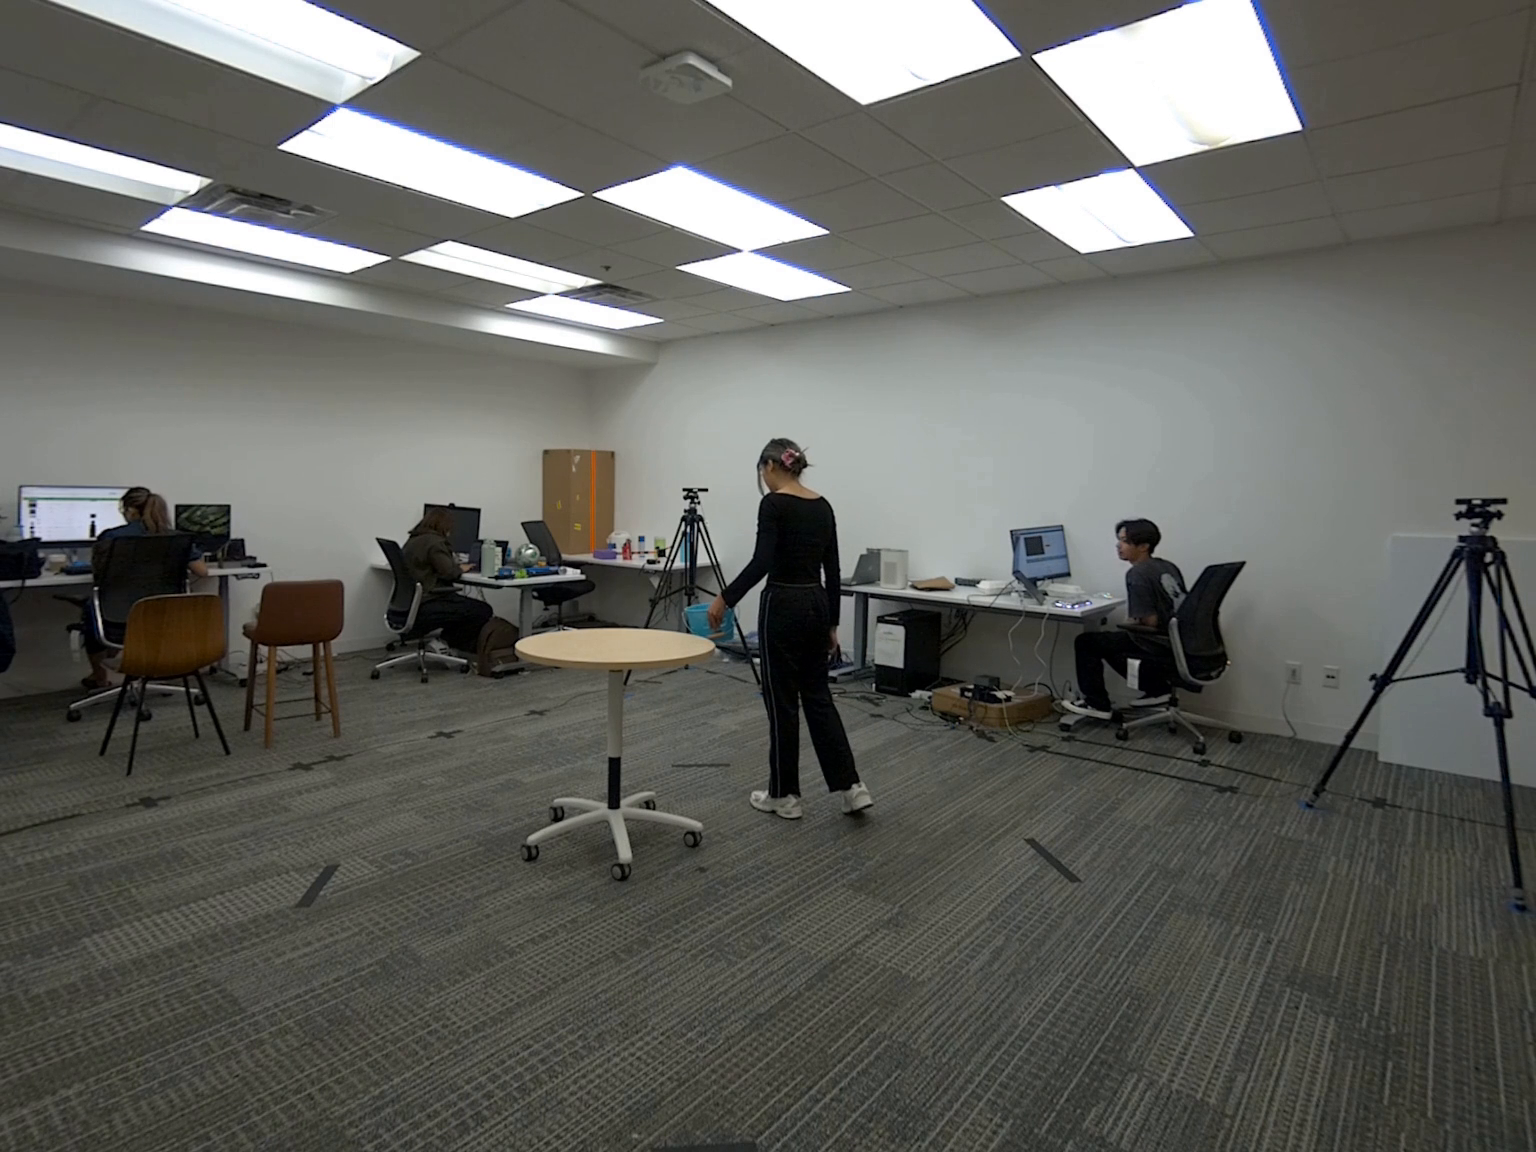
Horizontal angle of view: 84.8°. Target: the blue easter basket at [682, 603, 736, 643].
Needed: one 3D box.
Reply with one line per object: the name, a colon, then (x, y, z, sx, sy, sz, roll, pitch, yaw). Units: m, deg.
blue easter basket: (-0.260, 0.198, 3.762, 0.243, 0.155, 0.245, -6, 5, -1)
